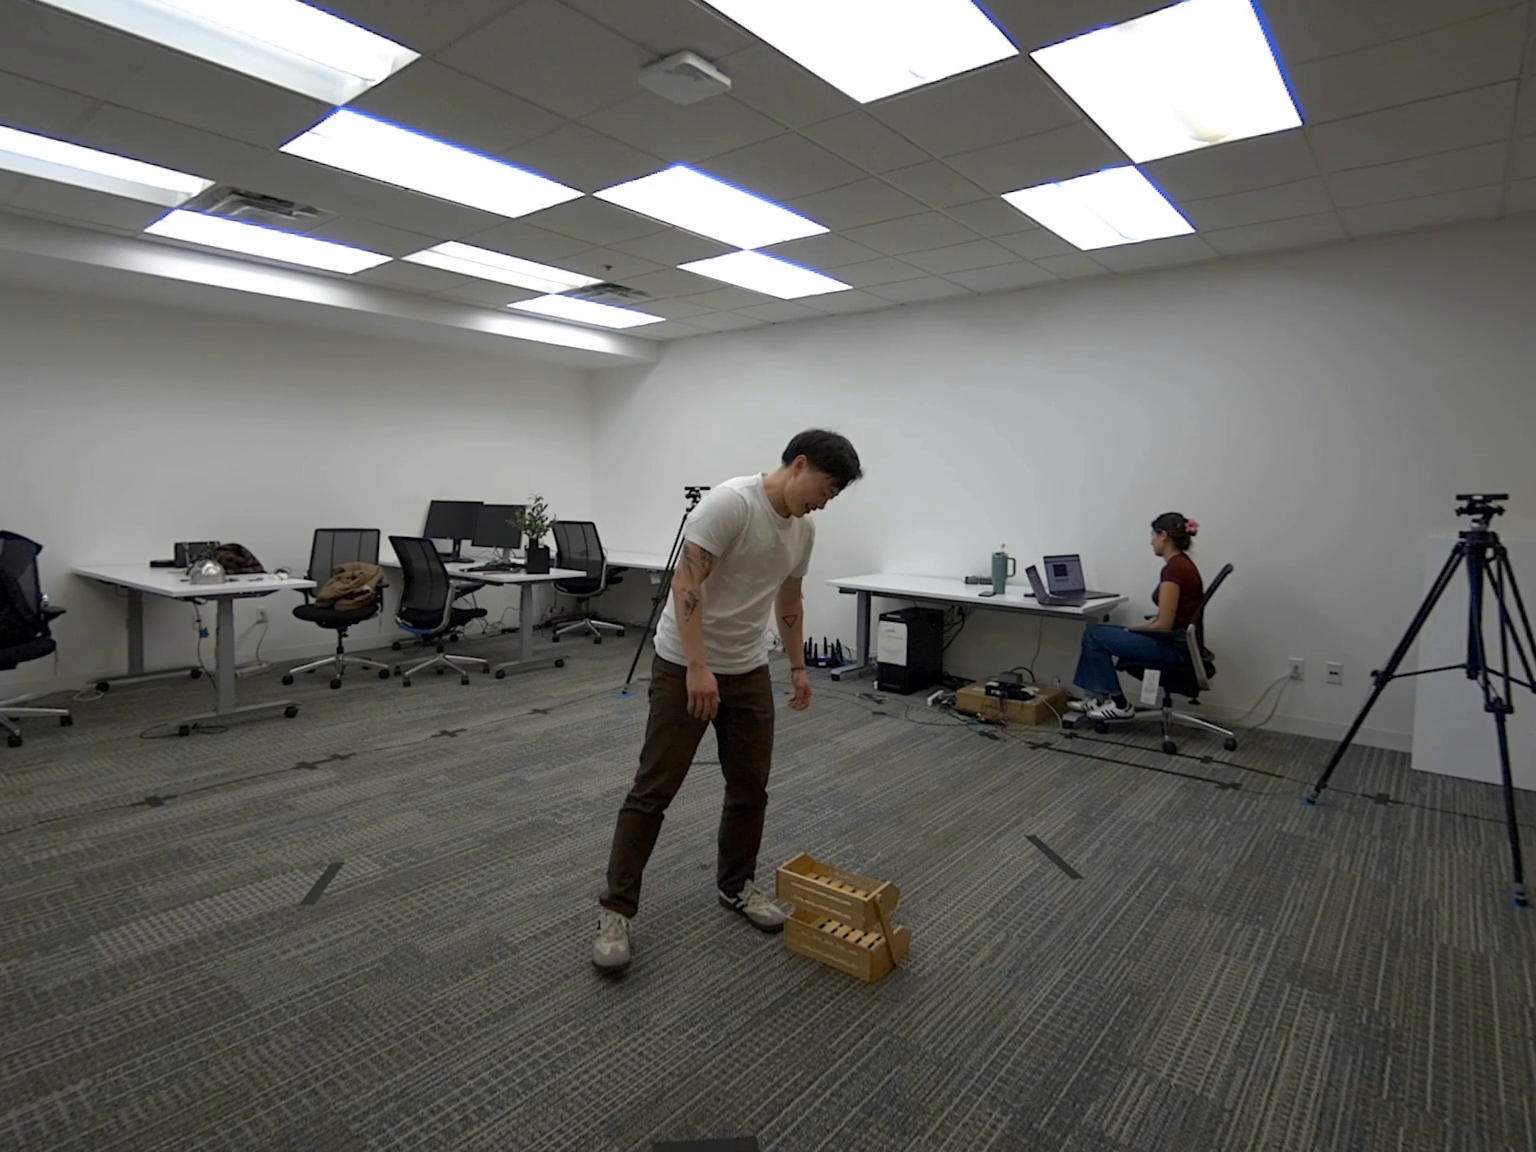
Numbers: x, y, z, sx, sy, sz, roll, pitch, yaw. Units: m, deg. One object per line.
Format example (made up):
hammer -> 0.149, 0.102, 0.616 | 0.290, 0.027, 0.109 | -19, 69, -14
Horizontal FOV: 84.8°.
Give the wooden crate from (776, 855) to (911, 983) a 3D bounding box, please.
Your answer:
wooden crate -> 0.226, 0.995, 2.556 | 0.335, 0.272, 0.293 | 4, 6, 36
